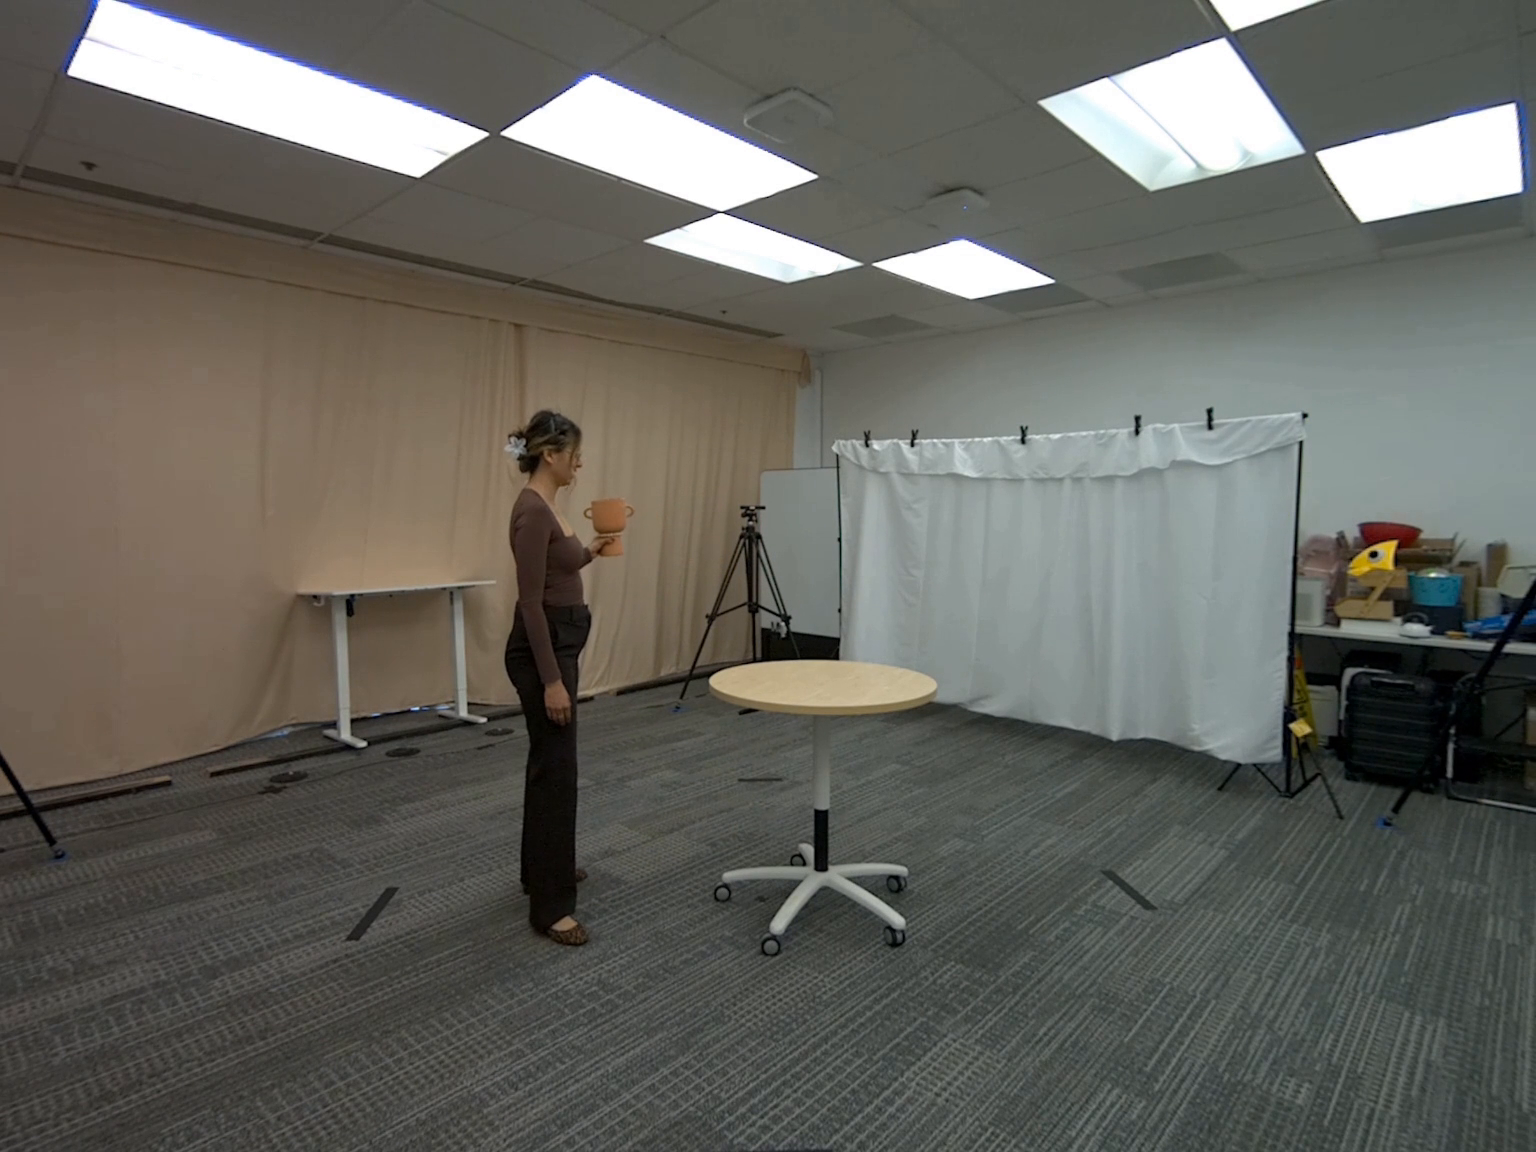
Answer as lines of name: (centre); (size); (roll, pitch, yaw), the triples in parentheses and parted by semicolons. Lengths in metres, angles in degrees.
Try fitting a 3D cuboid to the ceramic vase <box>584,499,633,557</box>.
ceramic vase: (-0.630, -0.194, 3.314); (0.163, 0.219, 0.131); (1, 5, 33)
